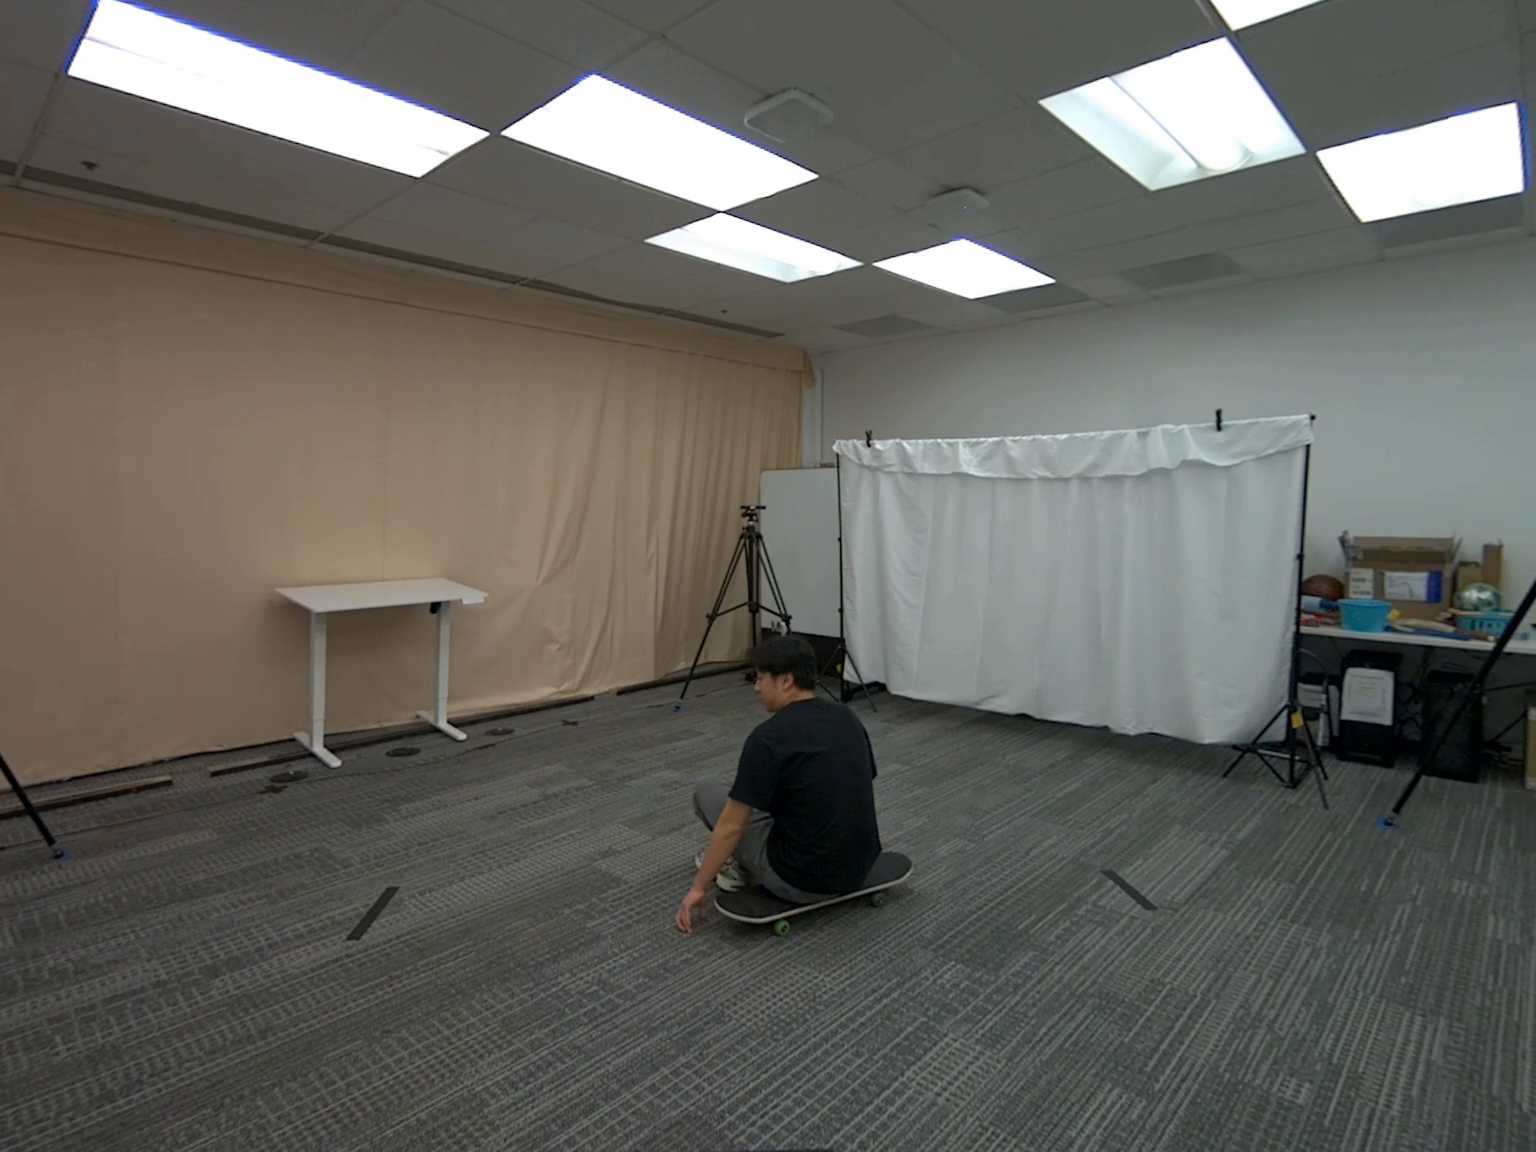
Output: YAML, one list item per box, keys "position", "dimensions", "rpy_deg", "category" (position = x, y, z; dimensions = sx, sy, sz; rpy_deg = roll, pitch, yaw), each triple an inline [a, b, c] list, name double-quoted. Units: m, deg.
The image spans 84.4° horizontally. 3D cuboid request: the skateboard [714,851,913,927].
- position: [0.171, 1.095, 2.893]
  dimensions: [0.765, 0.110, 0.200]
  rpy_deg: [-4, 11, -30]
  category: "skateboard"
